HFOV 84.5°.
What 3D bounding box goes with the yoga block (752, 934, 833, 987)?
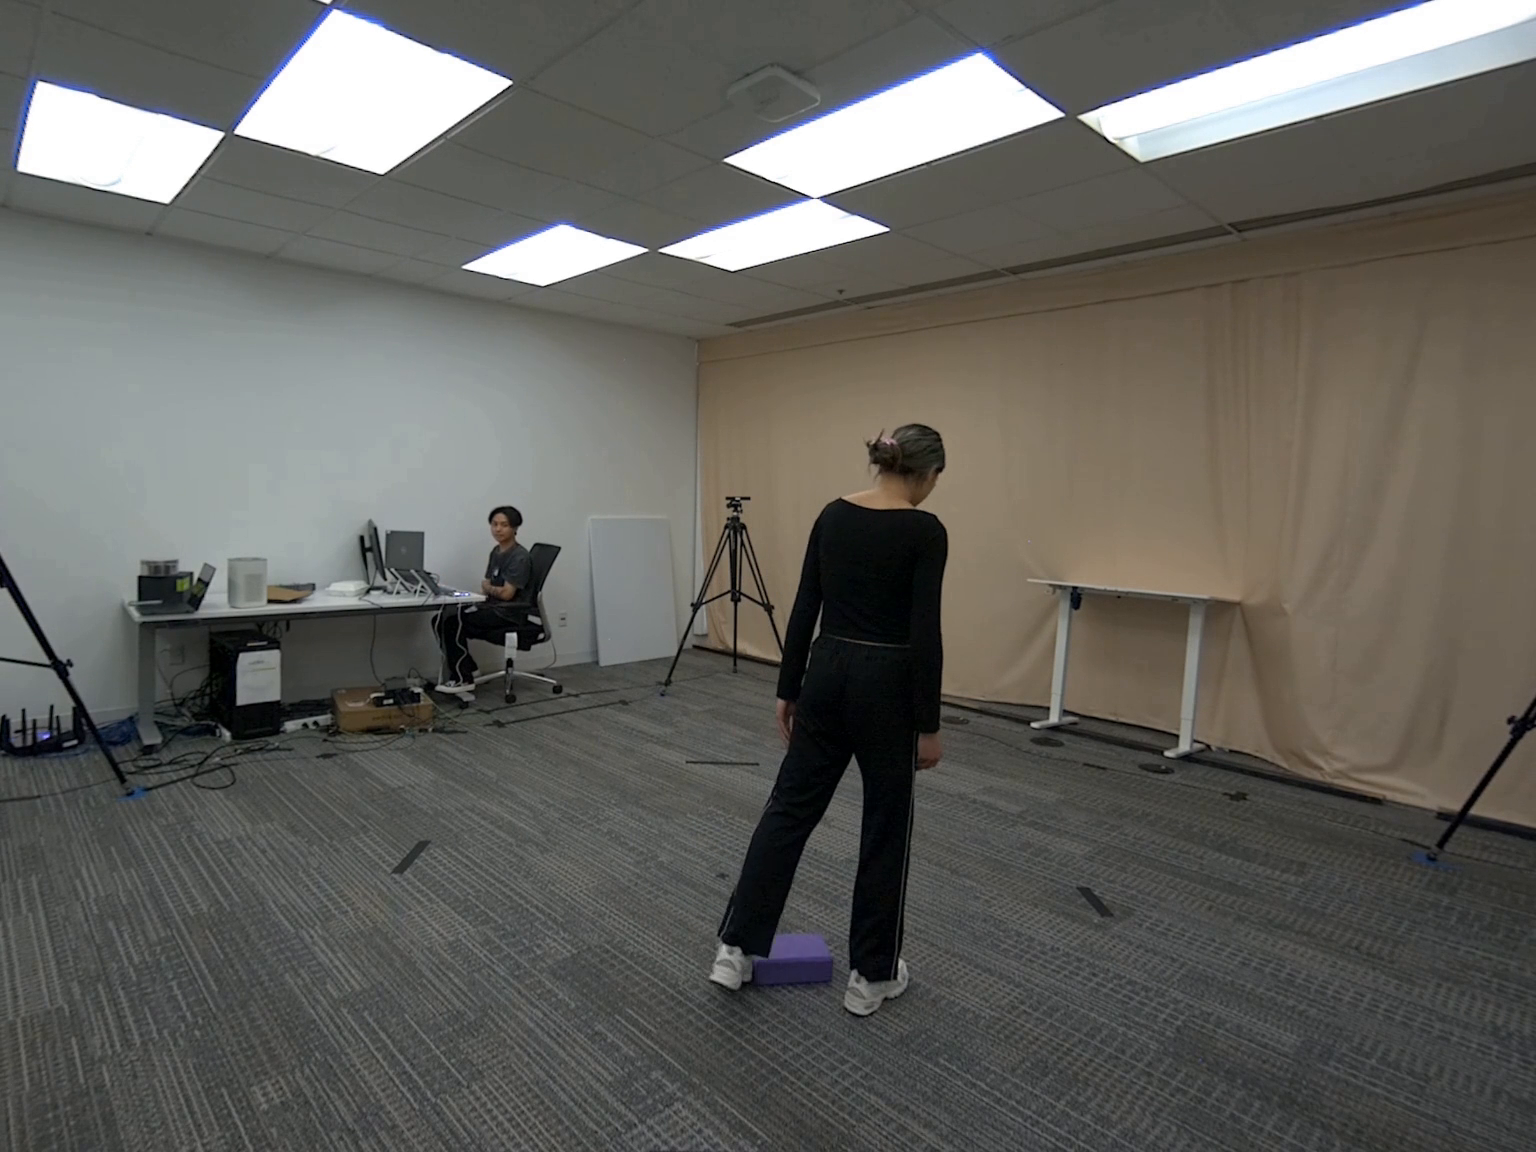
[{"bbox_3d":[0.080,1.131,2.492,0.228,0.076,0.150,1,3,-7],"label":"yoga block"}]
